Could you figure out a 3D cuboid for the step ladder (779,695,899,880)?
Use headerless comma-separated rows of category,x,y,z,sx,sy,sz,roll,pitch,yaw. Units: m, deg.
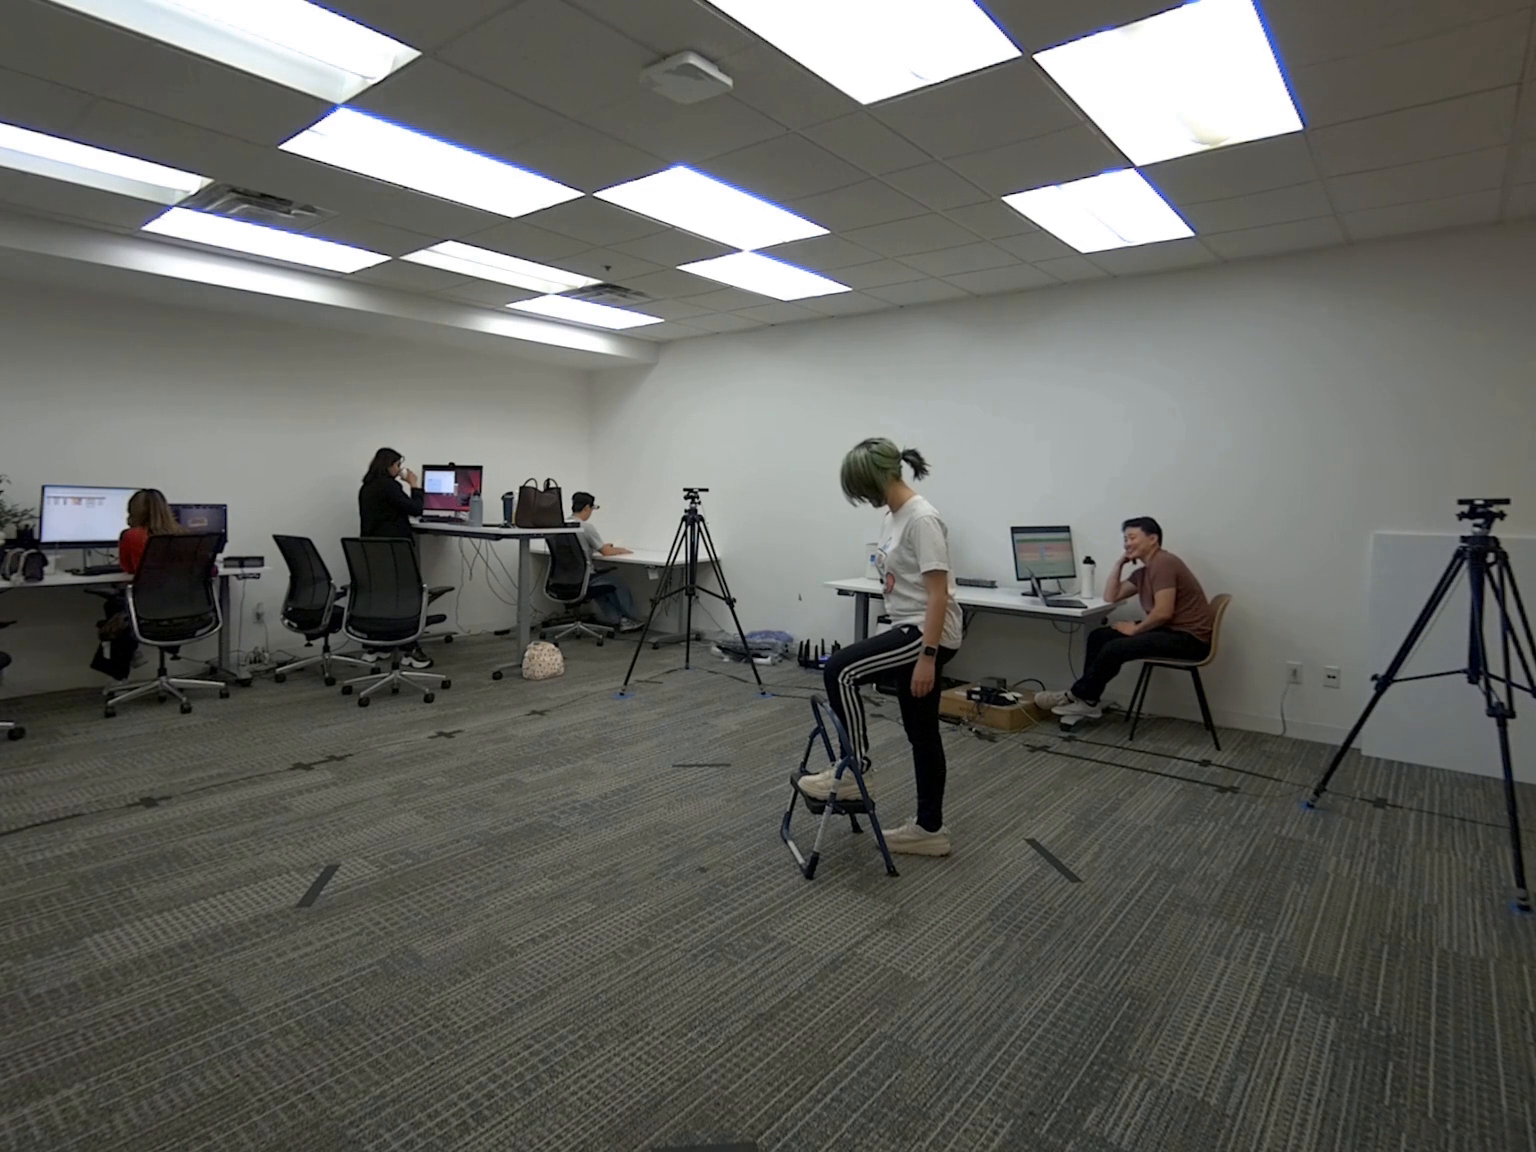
step ladder,0.259,0.769,3.259,0.345,0.604,0.437,1,3,-12
